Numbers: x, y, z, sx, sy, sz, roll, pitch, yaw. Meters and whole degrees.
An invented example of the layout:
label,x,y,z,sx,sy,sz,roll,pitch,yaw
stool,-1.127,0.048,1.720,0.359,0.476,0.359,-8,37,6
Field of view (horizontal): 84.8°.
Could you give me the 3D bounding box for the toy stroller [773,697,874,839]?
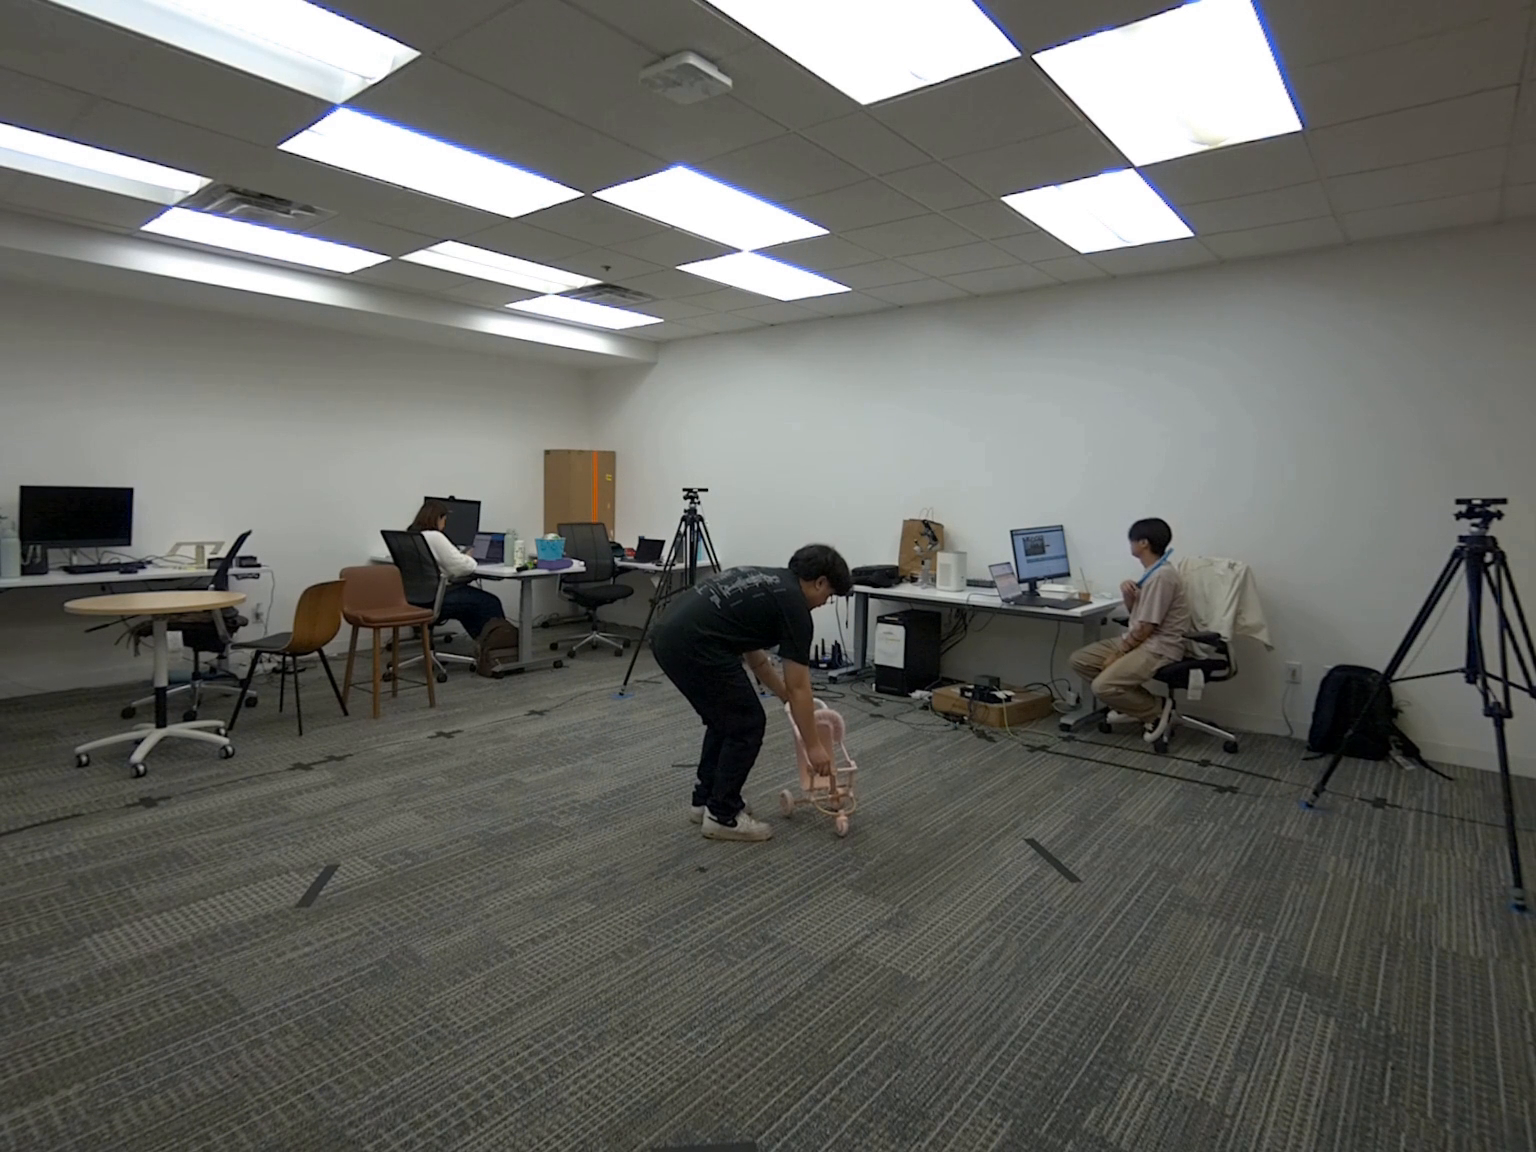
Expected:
label,x,y,z,sx,sy,sz,roll,pitch,yaw
toy stroller,0.225,0.797,3.592,0.276,0.540,0.345,1,-10,-20
